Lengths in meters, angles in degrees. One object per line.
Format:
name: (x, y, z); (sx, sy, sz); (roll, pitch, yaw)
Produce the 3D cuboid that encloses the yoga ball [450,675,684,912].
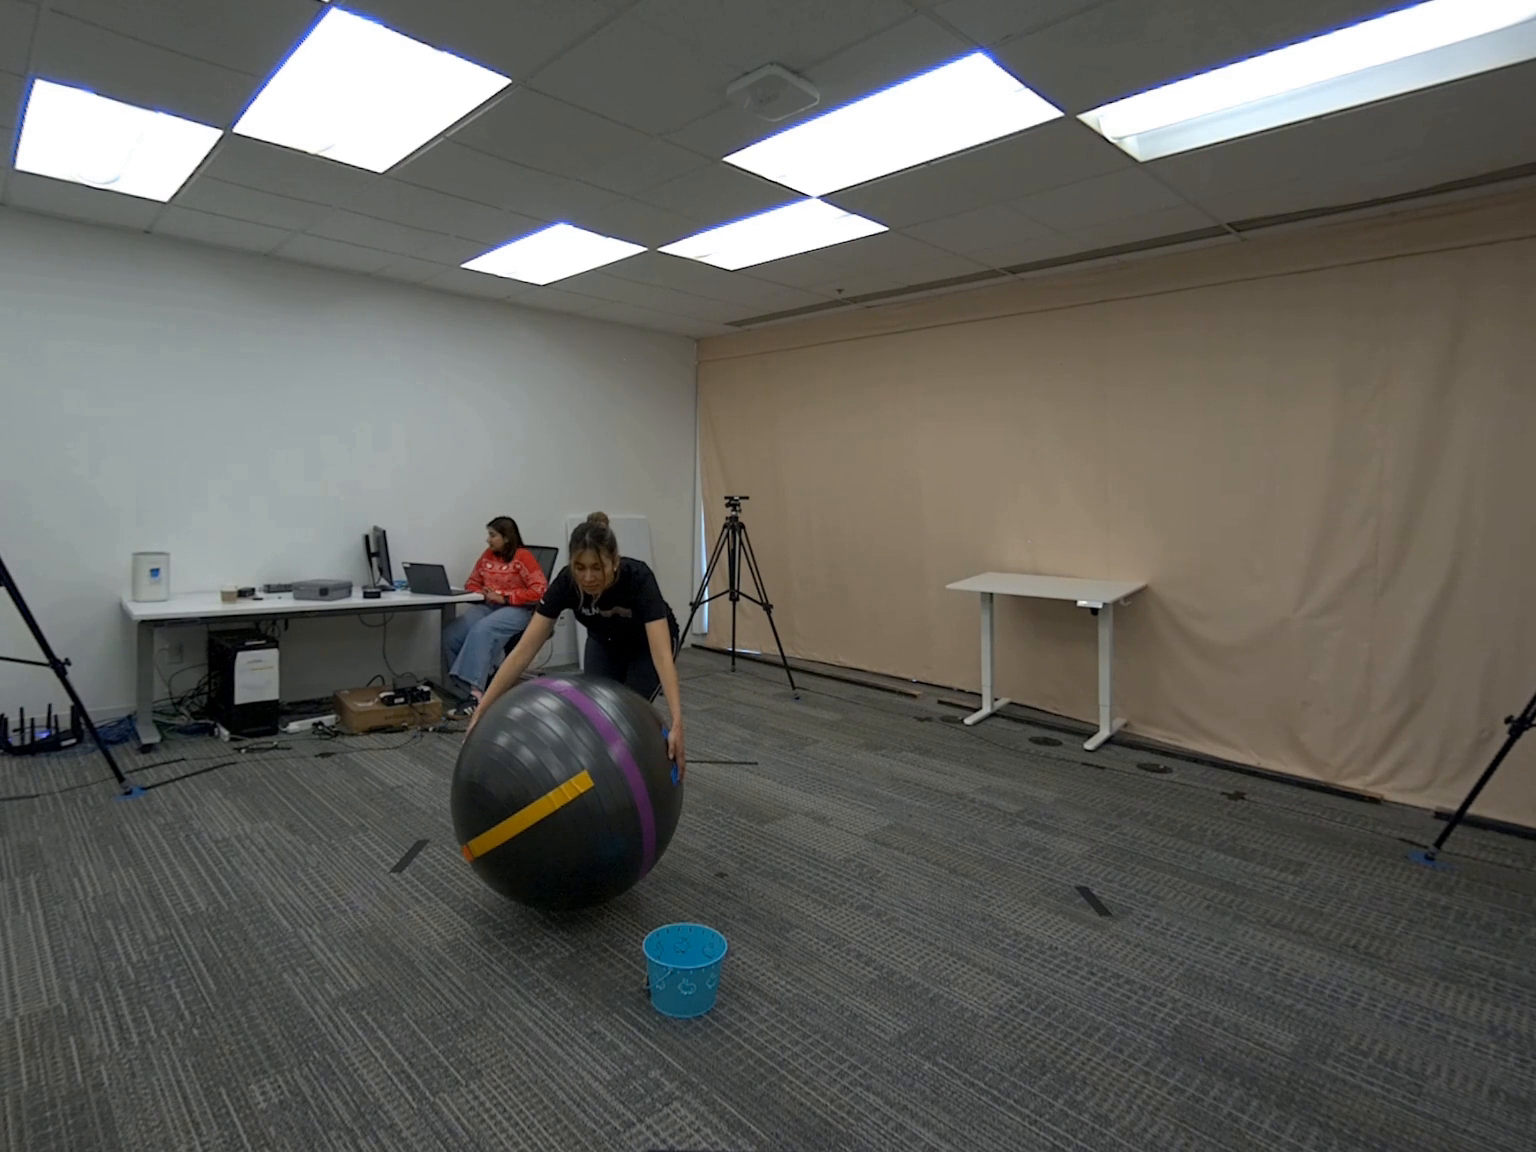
yoga ball: (-0.660, 0.701, 2.785); (0.757, 0.756, 0.761); (1, 4, -1)
